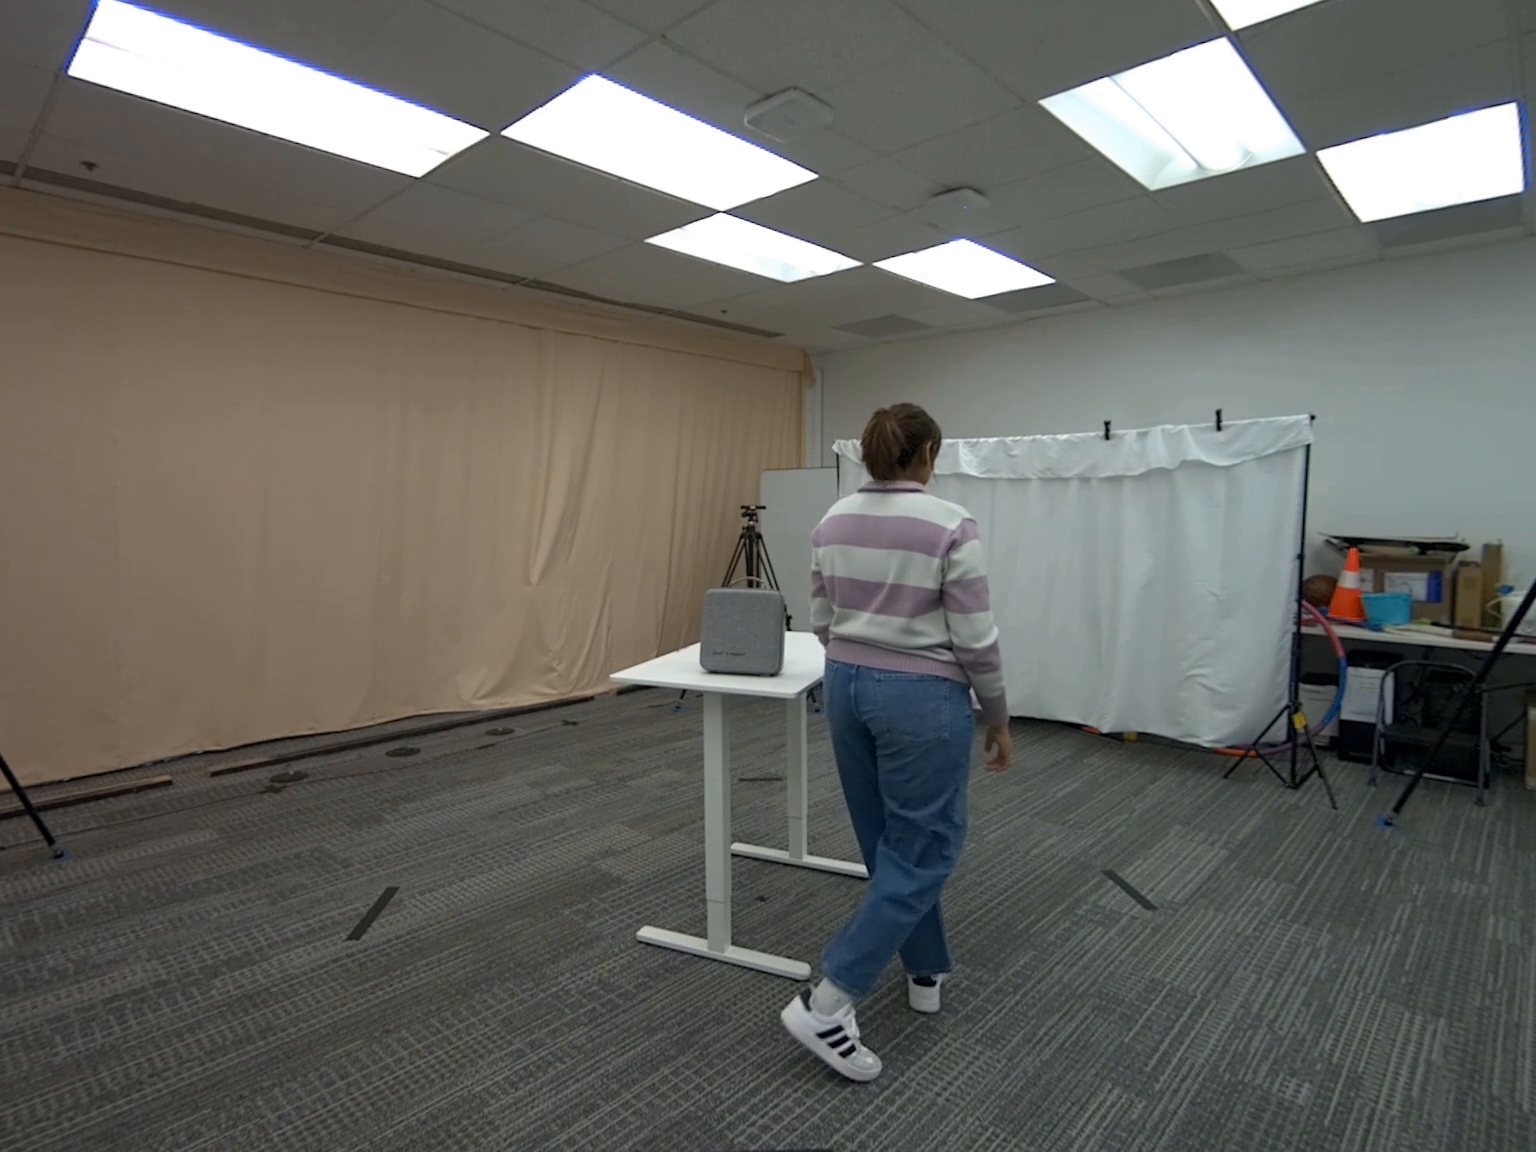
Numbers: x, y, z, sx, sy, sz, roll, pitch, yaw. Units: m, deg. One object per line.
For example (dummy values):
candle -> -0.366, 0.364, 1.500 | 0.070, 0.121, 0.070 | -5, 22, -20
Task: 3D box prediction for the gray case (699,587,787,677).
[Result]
gray case -> -0.075, 0.167, 2.584 | 0.261, 0.261, 0.102 | 1, -6, 16
